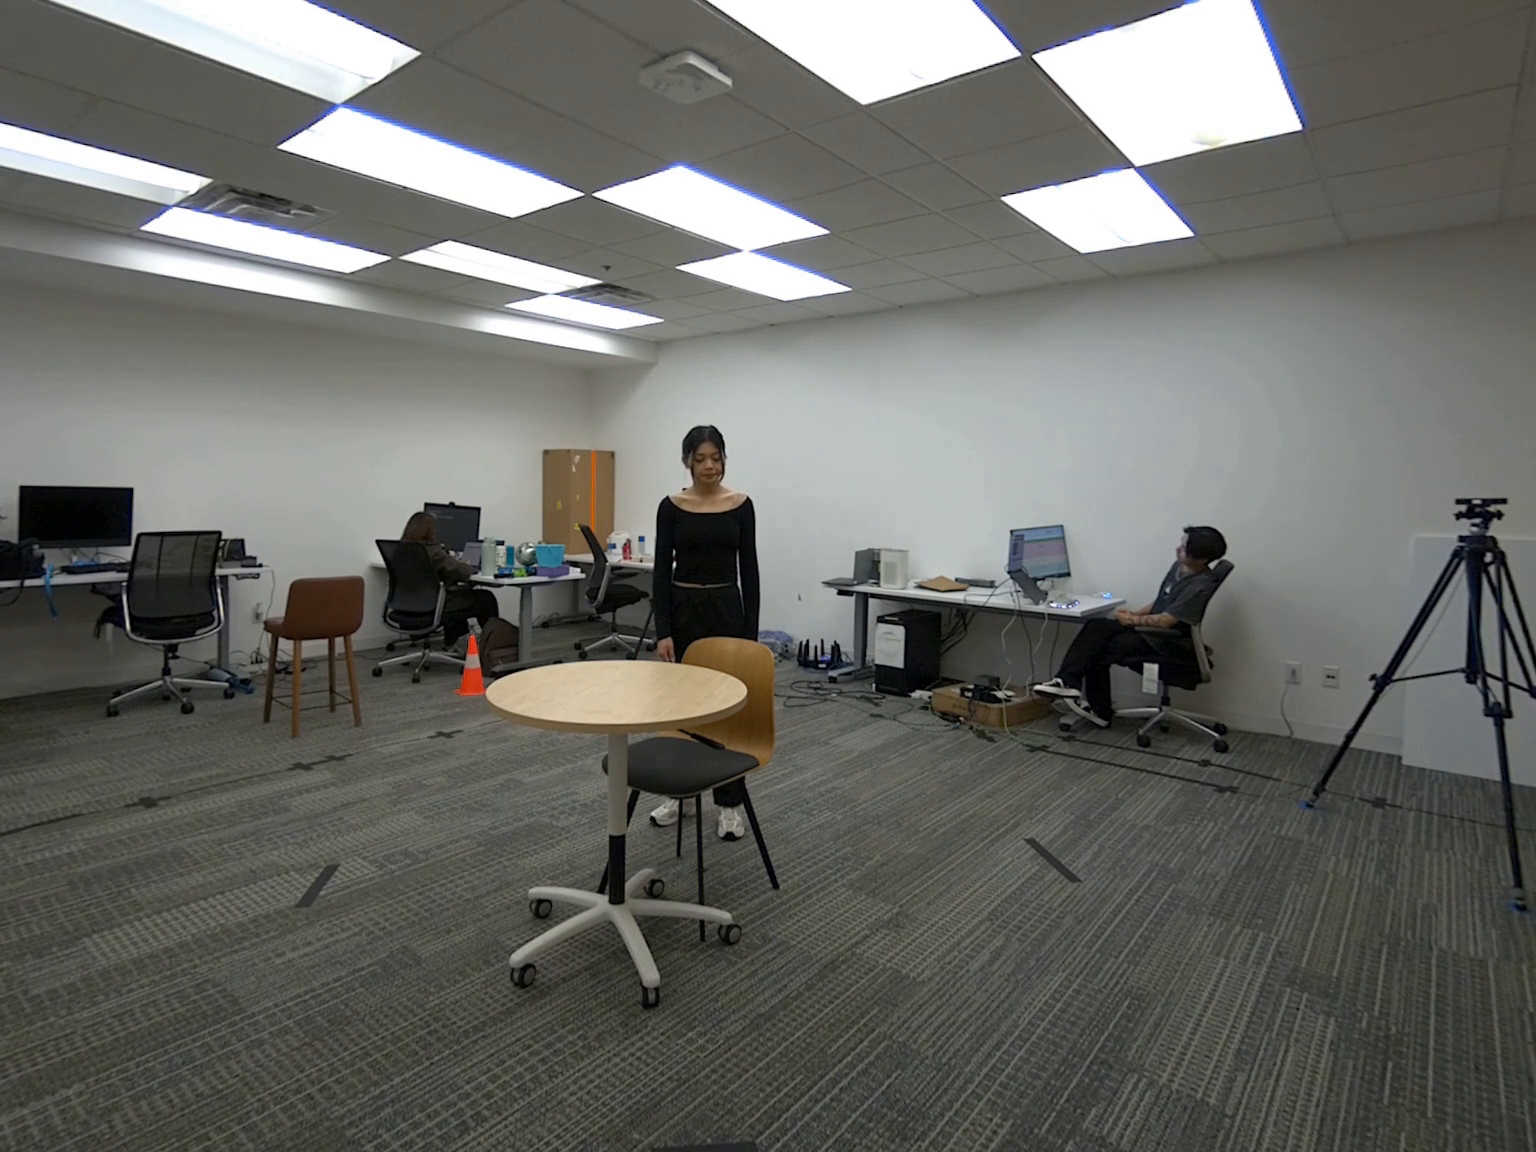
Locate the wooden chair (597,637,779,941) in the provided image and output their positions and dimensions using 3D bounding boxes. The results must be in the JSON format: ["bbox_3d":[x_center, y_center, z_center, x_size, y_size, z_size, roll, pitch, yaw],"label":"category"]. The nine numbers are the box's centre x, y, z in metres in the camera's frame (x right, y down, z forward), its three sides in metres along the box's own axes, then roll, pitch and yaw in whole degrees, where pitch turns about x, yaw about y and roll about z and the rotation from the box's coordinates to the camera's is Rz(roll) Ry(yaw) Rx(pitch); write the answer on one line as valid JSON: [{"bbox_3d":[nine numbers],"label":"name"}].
[{"bbox_3d":[-0.269,0.660,2.881,0.493,0.878,0.506,4,0,34],"label":"wooden chair"}]
